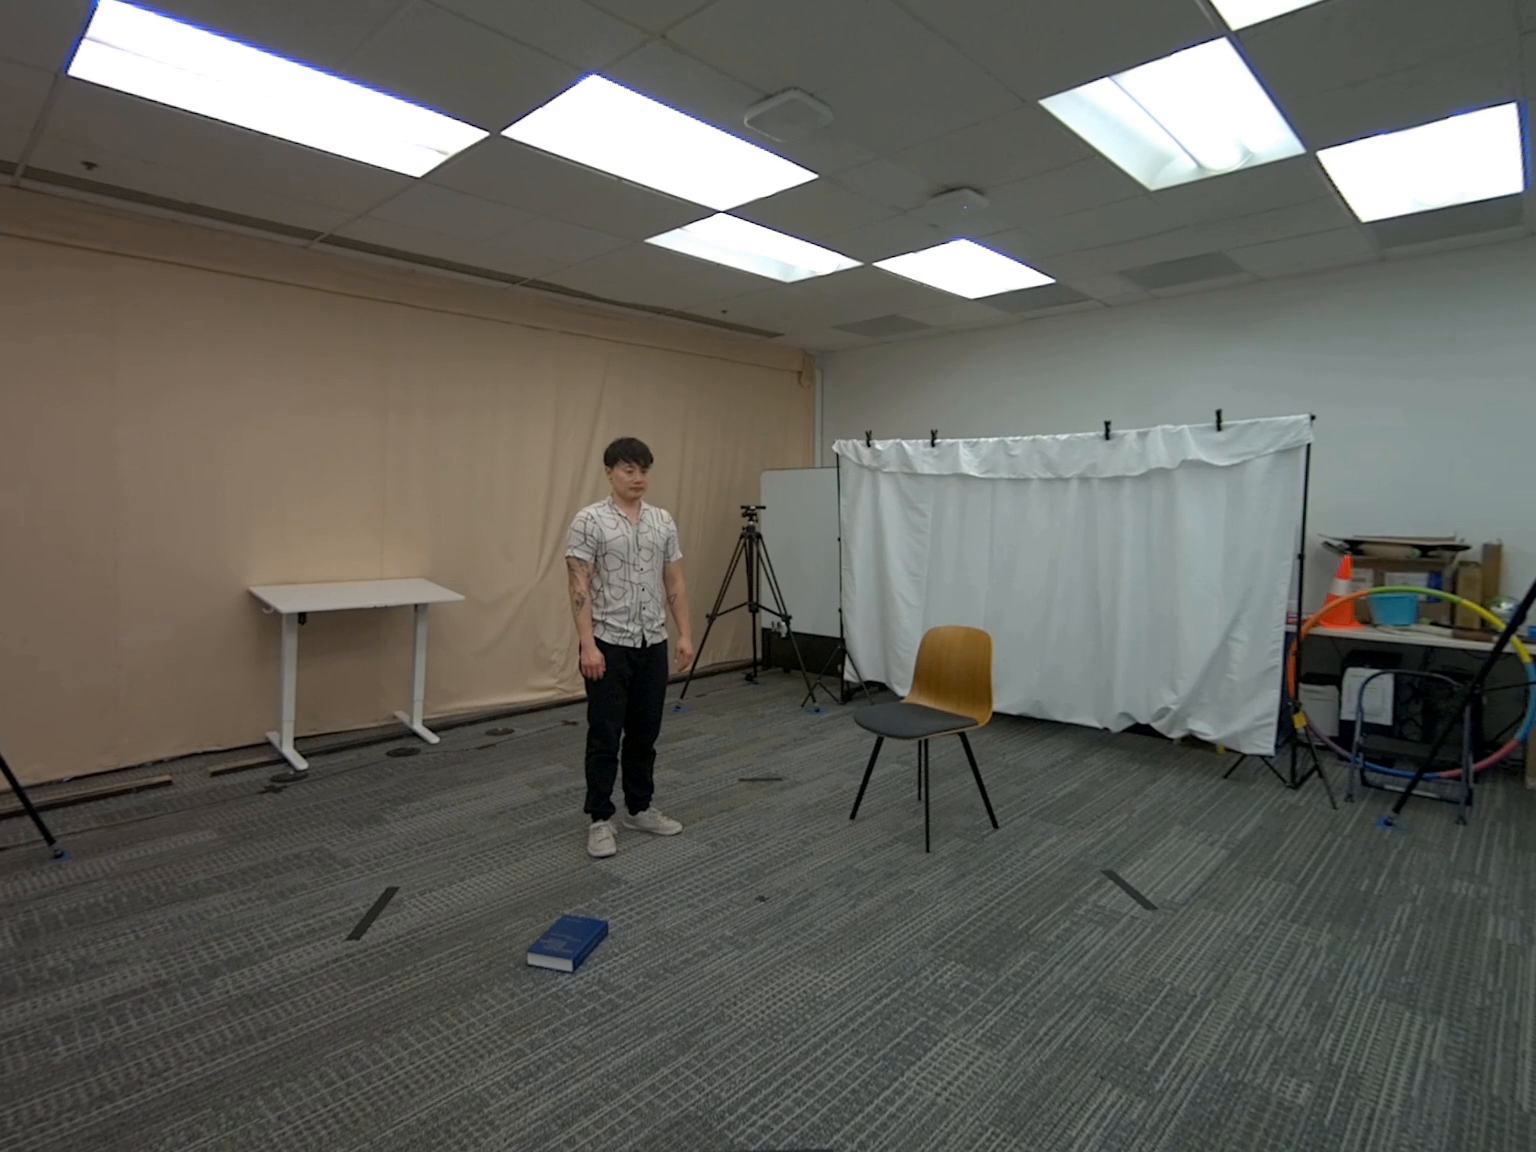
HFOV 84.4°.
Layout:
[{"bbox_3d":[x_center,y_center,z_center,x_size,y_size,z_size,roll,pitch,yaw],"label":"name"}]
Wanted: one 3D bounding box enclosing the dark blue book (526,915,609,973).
[{"bbox_3d":[-0.629,1.146,2.649,0.166,0.045,0.241,0,5,16],"label":"dark blue book"}]
